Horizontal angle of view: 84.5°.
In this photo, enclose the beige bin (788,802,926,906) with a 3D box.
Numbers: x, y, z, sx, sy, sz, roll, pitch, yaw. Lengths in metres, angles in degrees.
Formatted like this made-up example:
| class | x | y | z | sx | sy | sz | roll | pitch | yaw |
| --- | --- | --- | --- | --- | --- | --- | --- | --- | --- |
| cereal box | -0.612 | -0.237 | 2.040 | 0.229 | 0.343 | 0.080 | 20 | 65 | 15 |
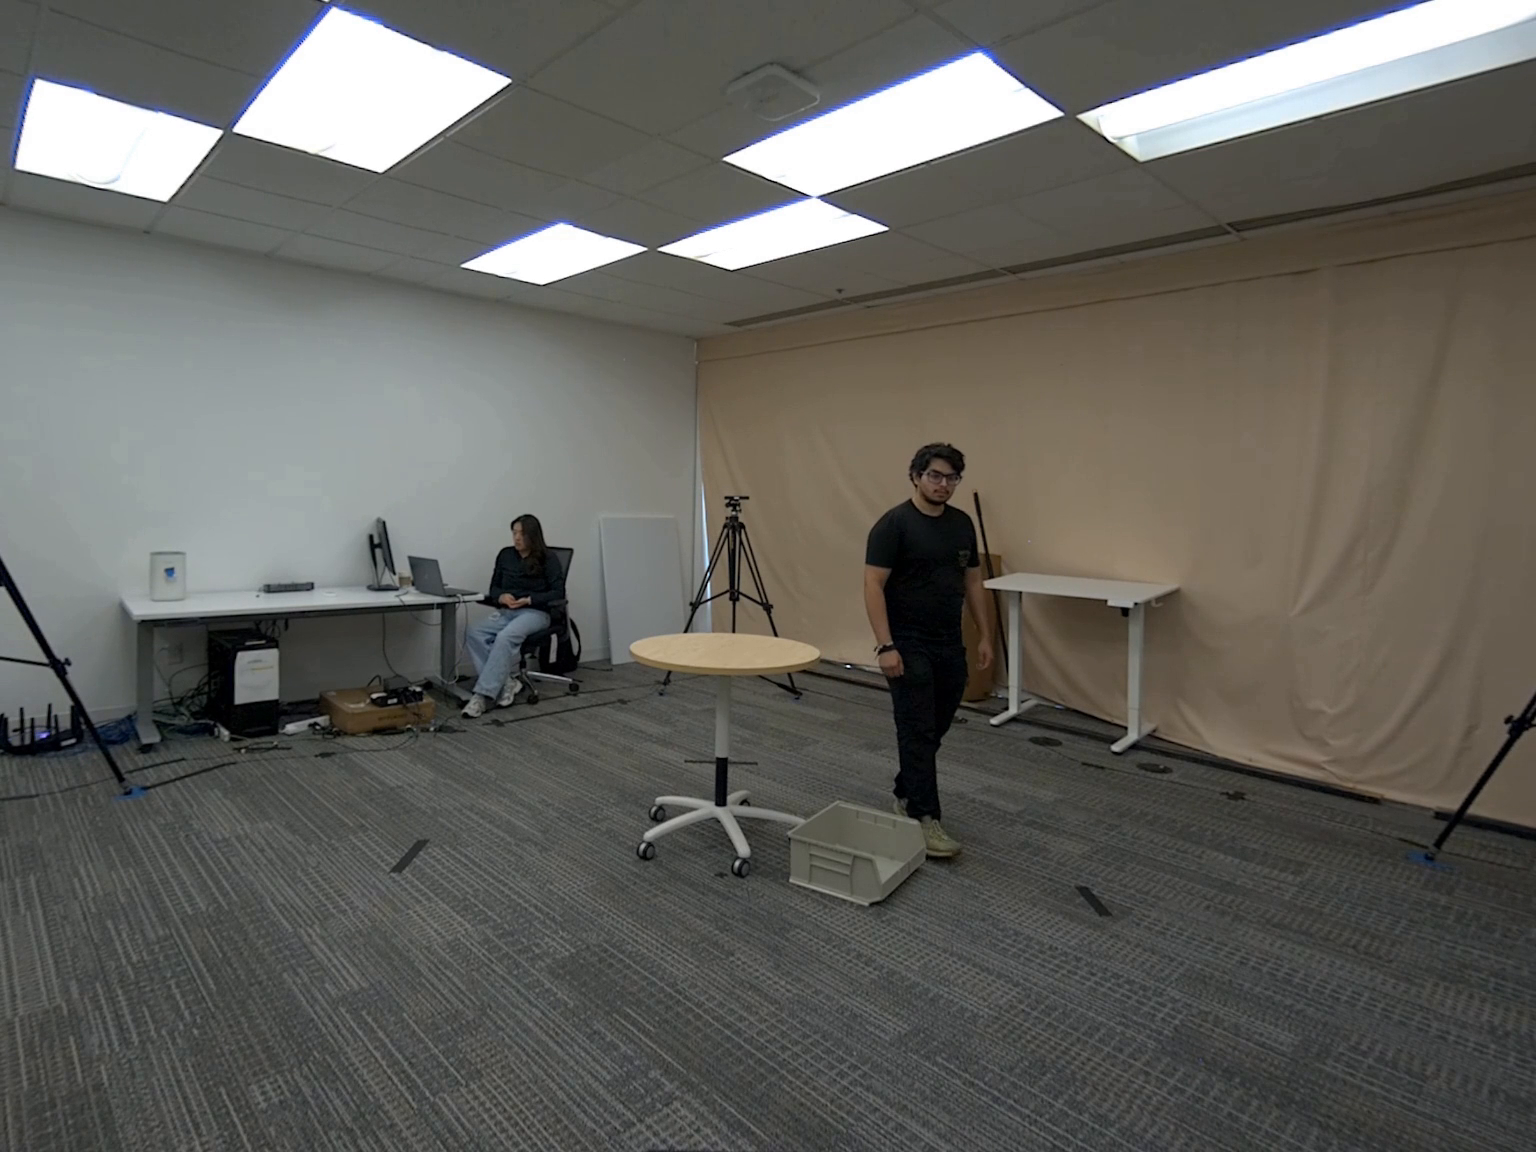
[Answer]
| class | x | y | z | sx | sy | sz | roll | pitch | yaw |
| --- | --- | --- | --- | --- | --- | --- | --- | --- | --- |
| beige bin | 0.327 | 1.024 | 3.128 | 0.386 | 0.188 | 0.414 | 4 | 5 | 32 |
